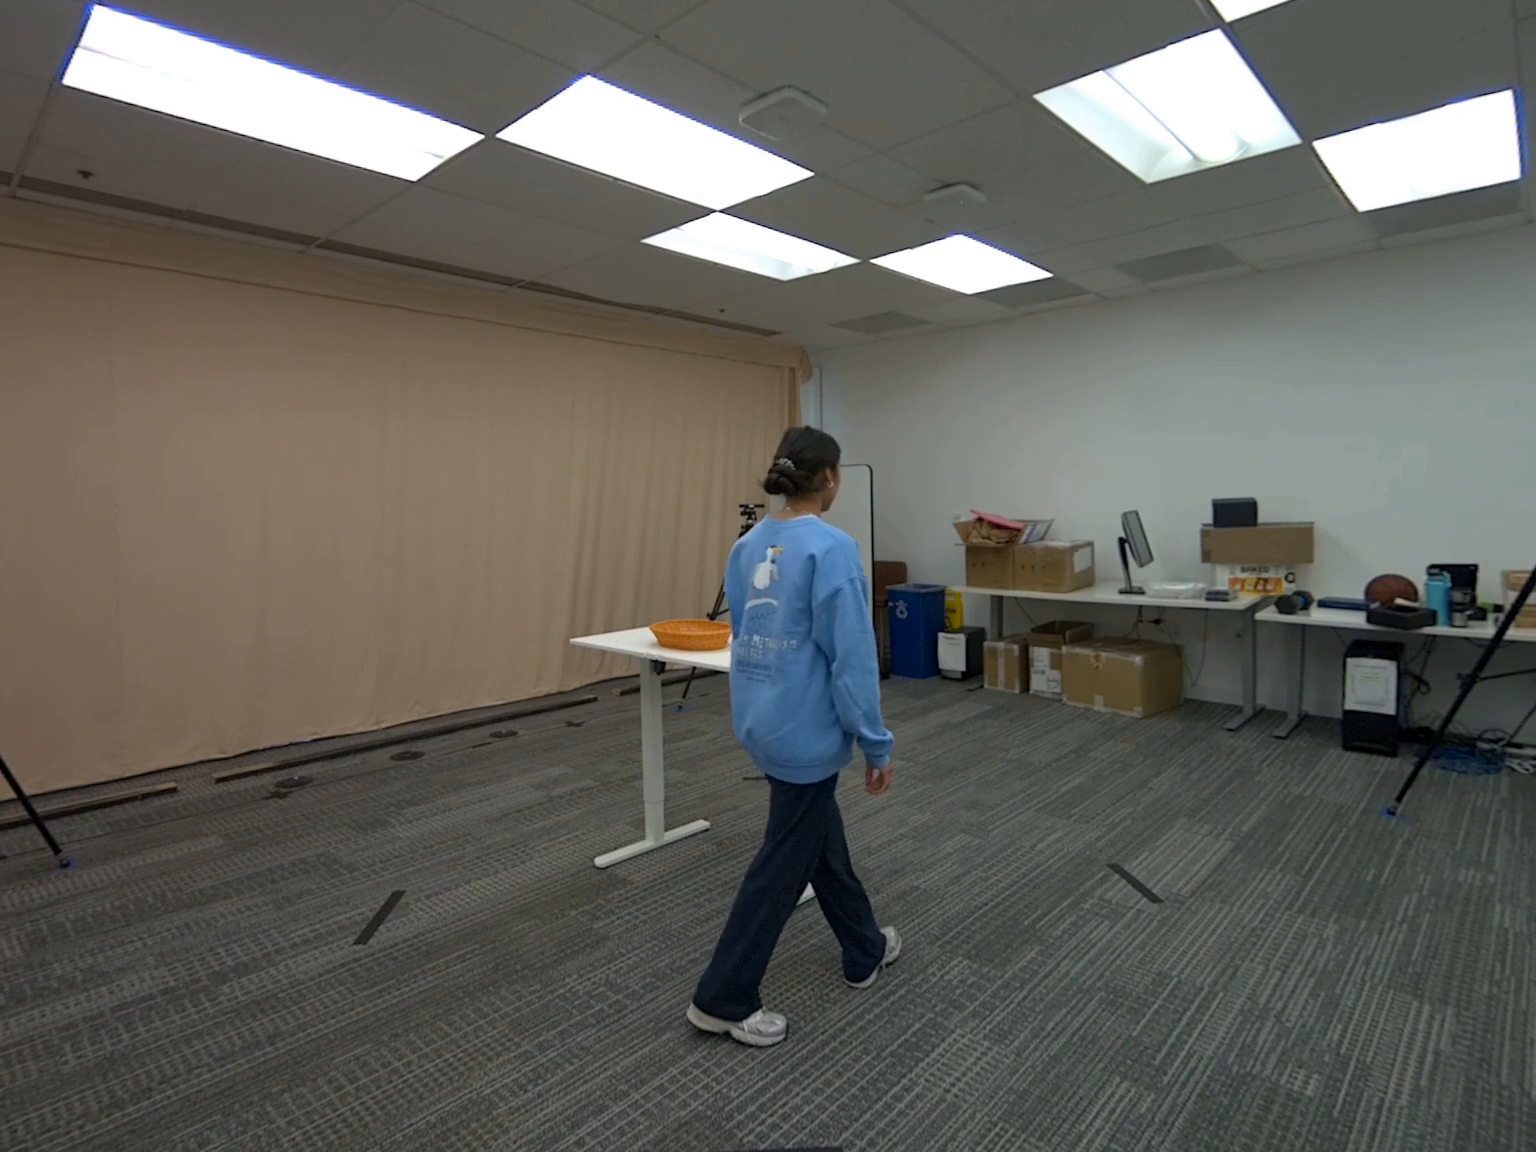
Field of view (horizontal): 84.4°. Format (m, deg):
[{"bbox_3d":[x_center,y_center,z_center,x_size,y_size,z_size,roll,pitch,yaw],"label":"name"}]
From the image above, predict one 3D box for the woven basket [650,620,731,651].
[{"bbox_3d":[-0.284,0.226,3.084,0.245,0.073,0.362,-7,8,-44],"label":"woven basket"}]
